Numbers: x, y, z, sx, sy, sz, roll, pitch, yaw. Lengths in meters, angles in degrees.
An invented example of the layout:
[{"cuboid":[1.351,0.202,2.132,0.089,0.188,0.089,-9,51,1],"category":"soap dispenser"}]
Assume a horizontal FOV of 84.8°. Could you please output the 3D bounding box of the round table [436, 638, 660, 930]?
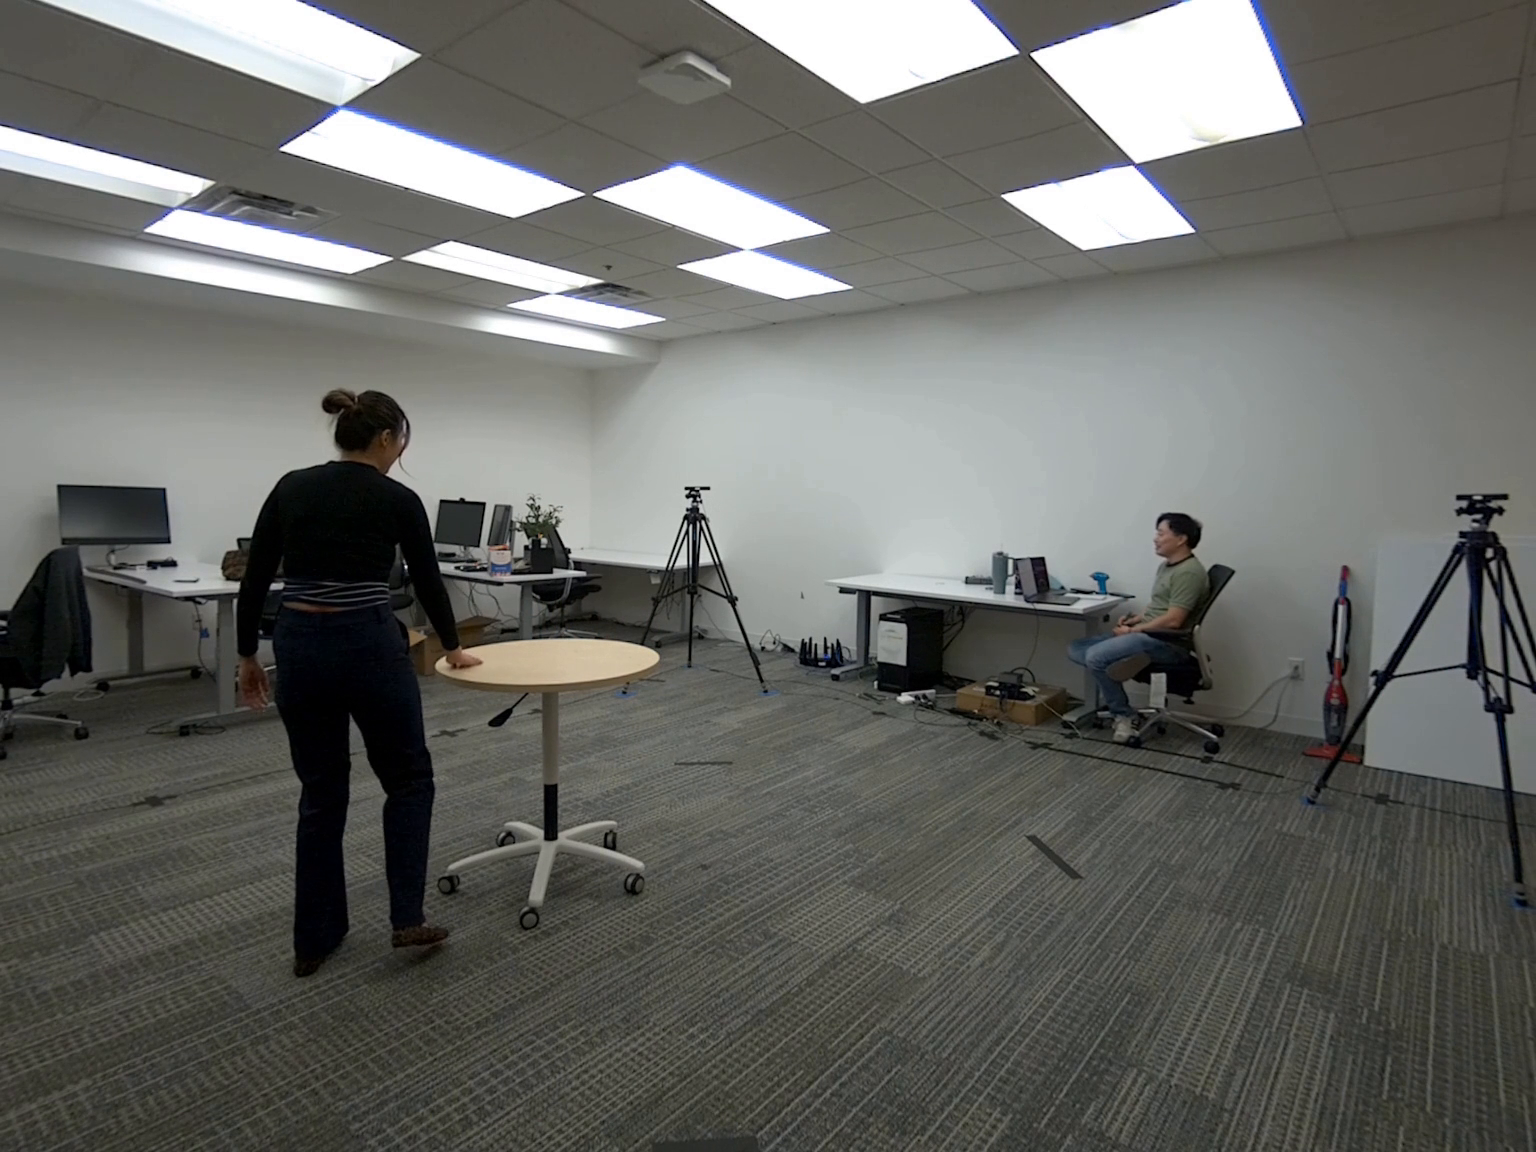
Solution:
[{"cuboid":[-0.777,0.681,2.999,0.763,0.791,0.768,0,4,-2],"category":"round table"}]
